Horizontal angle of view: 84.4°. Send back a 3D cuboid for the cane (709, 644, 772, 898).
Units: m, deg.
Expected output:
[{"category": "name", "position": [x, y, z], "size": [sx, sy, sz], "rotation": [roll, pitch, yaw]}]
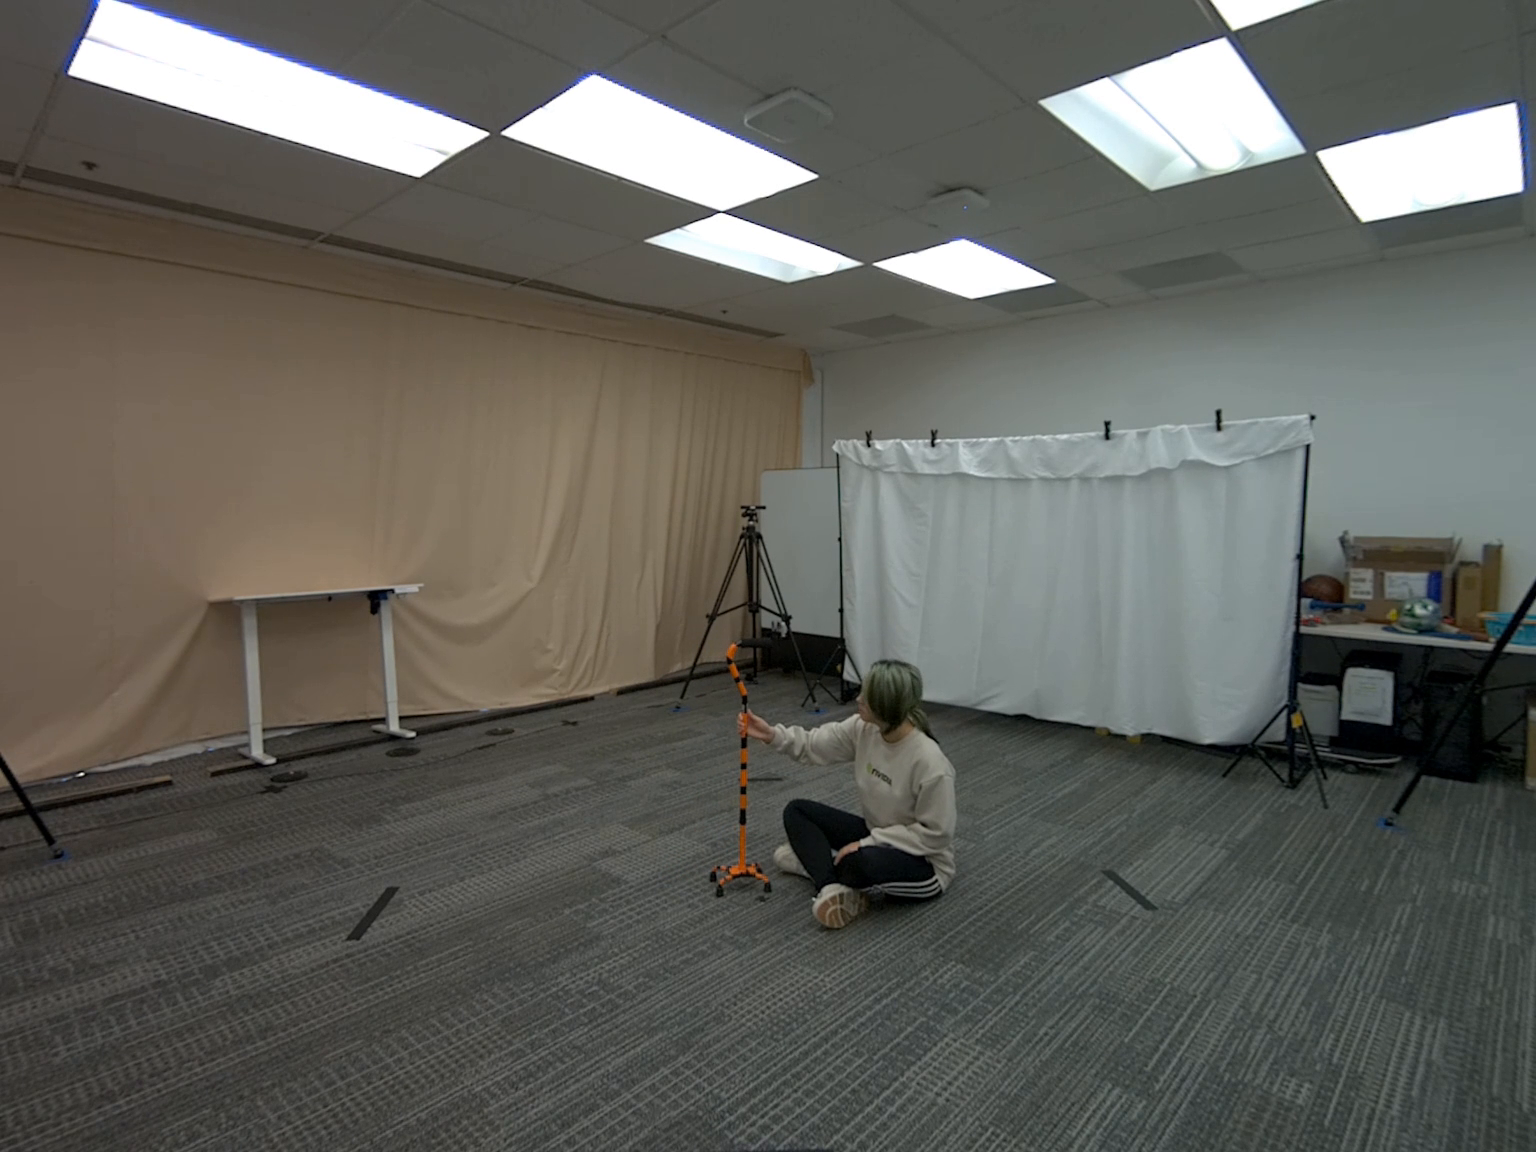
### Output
[{"category": "cane", "position": [-0.093, 0.690, 3.063], "size": [0.204, 0.907, 0.153], "rotation": [0, 2, -12]}]
